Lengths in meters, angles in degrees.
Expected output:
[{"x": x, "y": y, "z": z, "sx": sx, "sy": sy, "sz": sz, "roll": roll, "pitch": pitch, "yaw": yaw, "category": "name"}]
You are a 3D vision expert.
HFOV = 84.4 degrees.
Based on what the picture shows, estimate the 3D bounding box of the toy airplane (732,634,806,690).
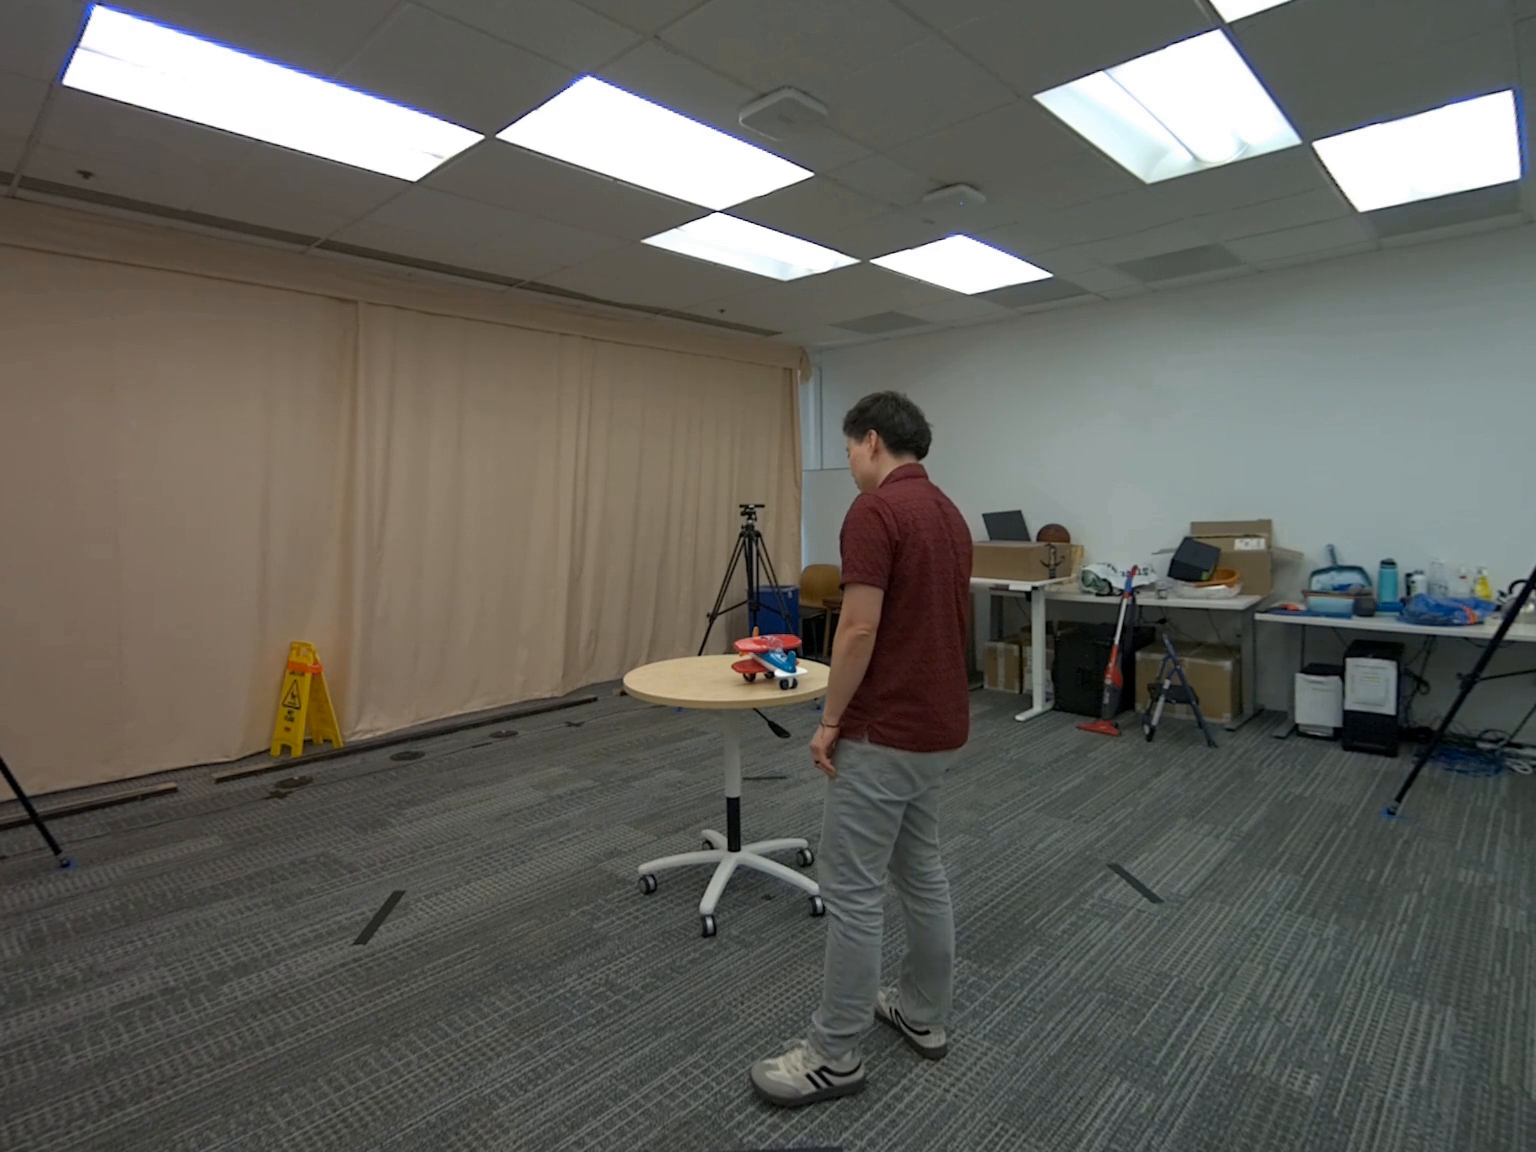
[{"x": 0.035, "y": 0.290, "z": 2.864, "sx": 0.267, "sy": 0.156, "sz": 0.244, "roll": 1, "pitch": 5, "yaw": 31, "category": "toy airplane"}]
